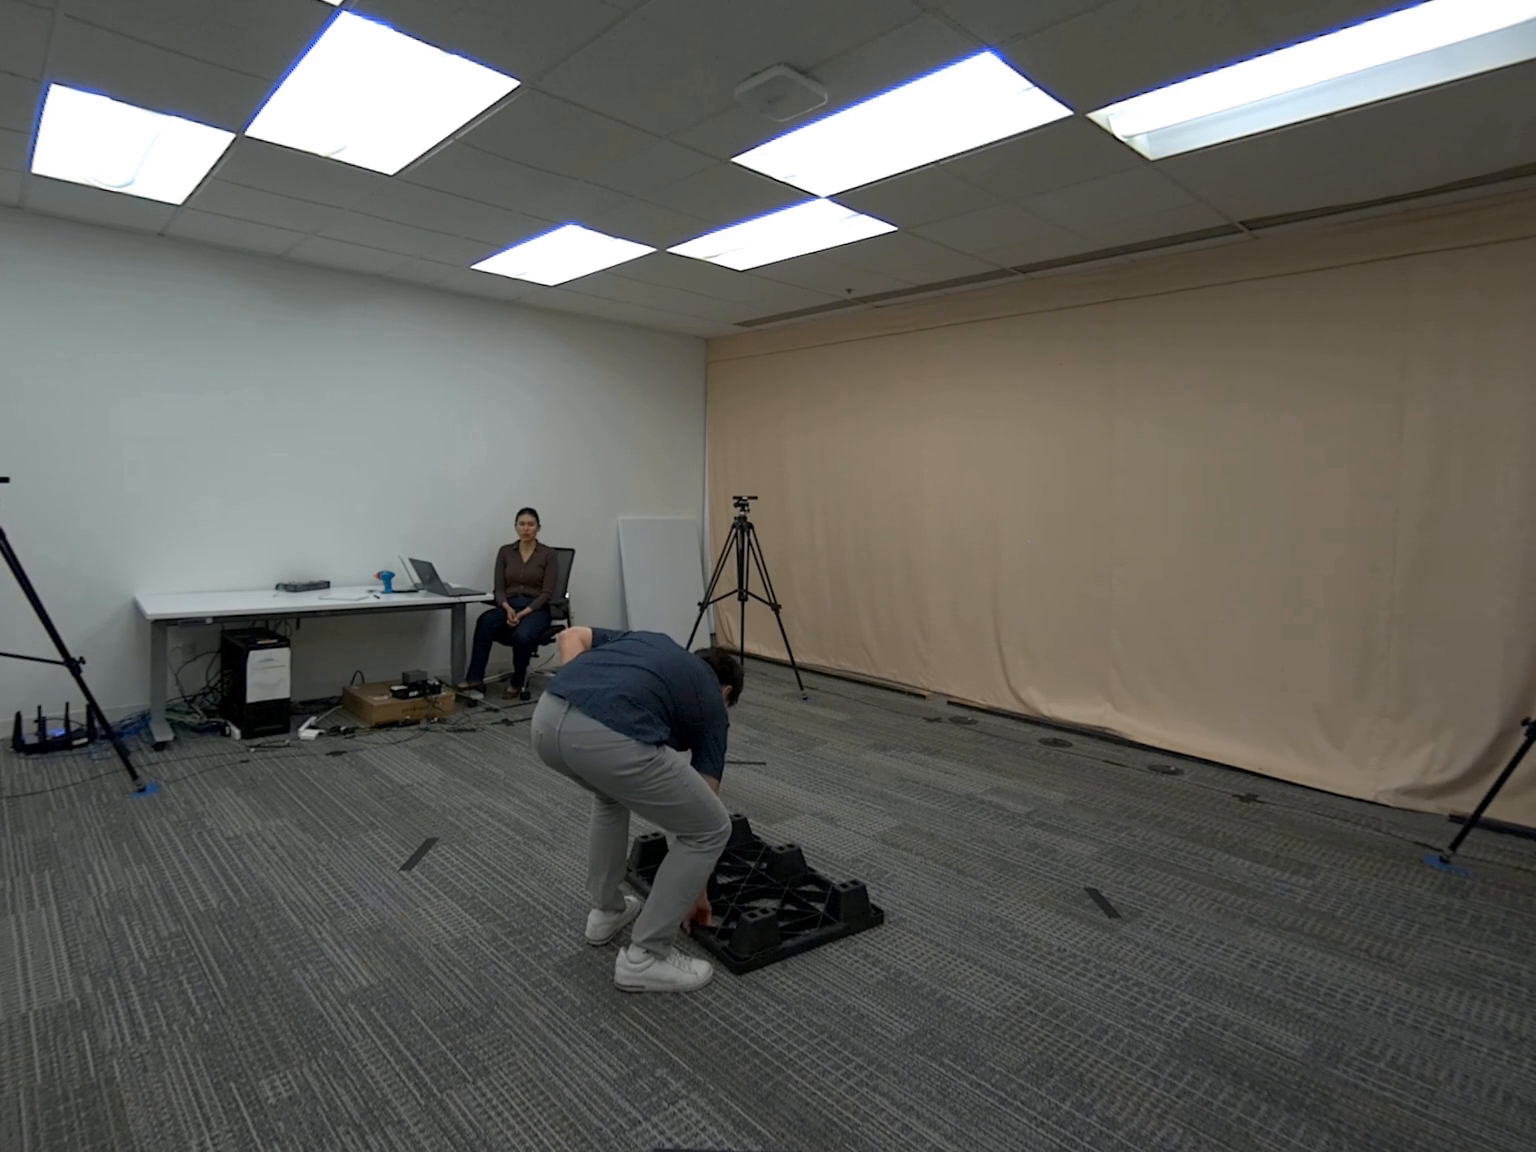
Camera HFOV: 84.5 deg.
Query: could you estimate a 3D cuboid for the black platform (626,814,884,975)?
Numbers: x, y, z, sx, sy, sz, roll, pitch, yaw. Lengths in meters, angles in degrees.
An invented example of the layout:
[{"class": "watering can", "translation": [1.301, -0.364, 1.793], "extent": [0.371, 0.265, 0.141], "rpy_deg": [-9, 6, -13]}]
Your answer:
[{"class": "black platform", "translation": [-0.096, 1.053, 2.933], "extent": [0.592, 0.143, 0.825], "rpy_deg": [-2, 6, -36]}]
